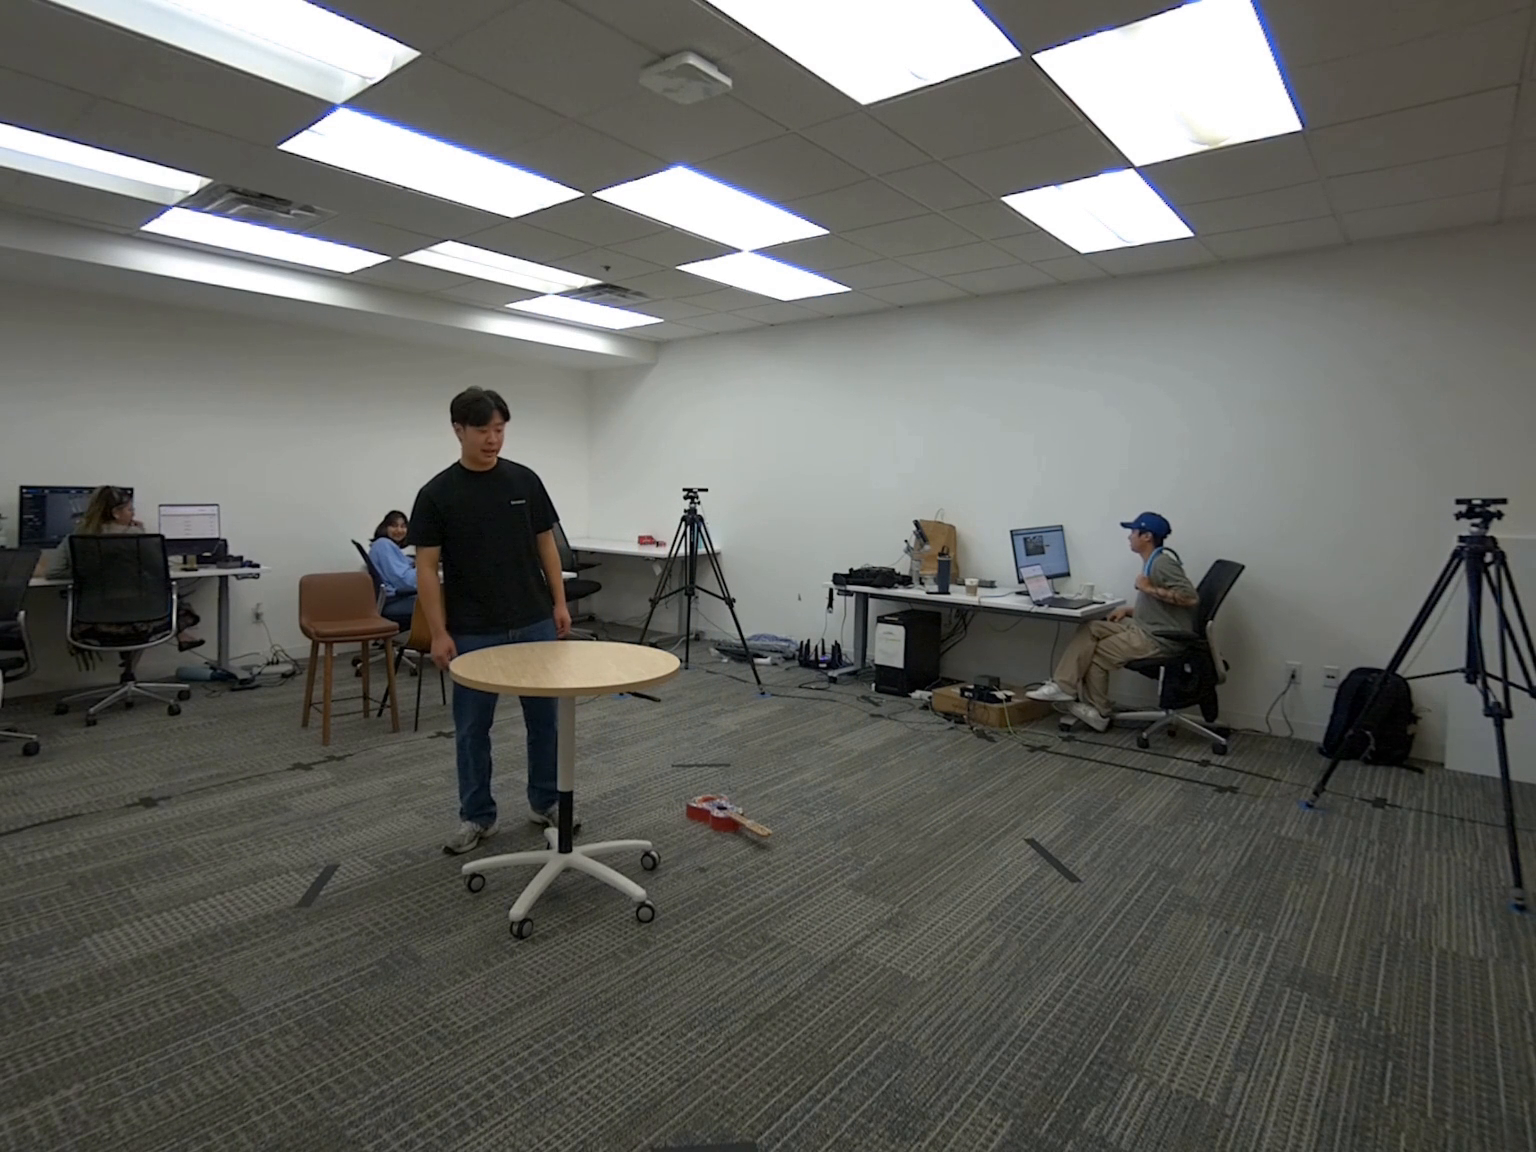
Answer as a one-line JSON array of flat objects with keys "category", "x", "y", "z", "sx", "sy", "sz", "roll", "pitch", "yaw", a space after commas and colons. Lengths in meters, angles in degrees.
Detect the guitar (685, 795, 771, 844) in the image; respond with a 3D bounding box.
[{"category": "guitar", "x": -0.179, "y": 1.004, "z": 3.482, "sx": 0.188, "sy": 0.070, "sz": 0.512, "roll": -1, "pitch": 5, "yaw": -27}]
